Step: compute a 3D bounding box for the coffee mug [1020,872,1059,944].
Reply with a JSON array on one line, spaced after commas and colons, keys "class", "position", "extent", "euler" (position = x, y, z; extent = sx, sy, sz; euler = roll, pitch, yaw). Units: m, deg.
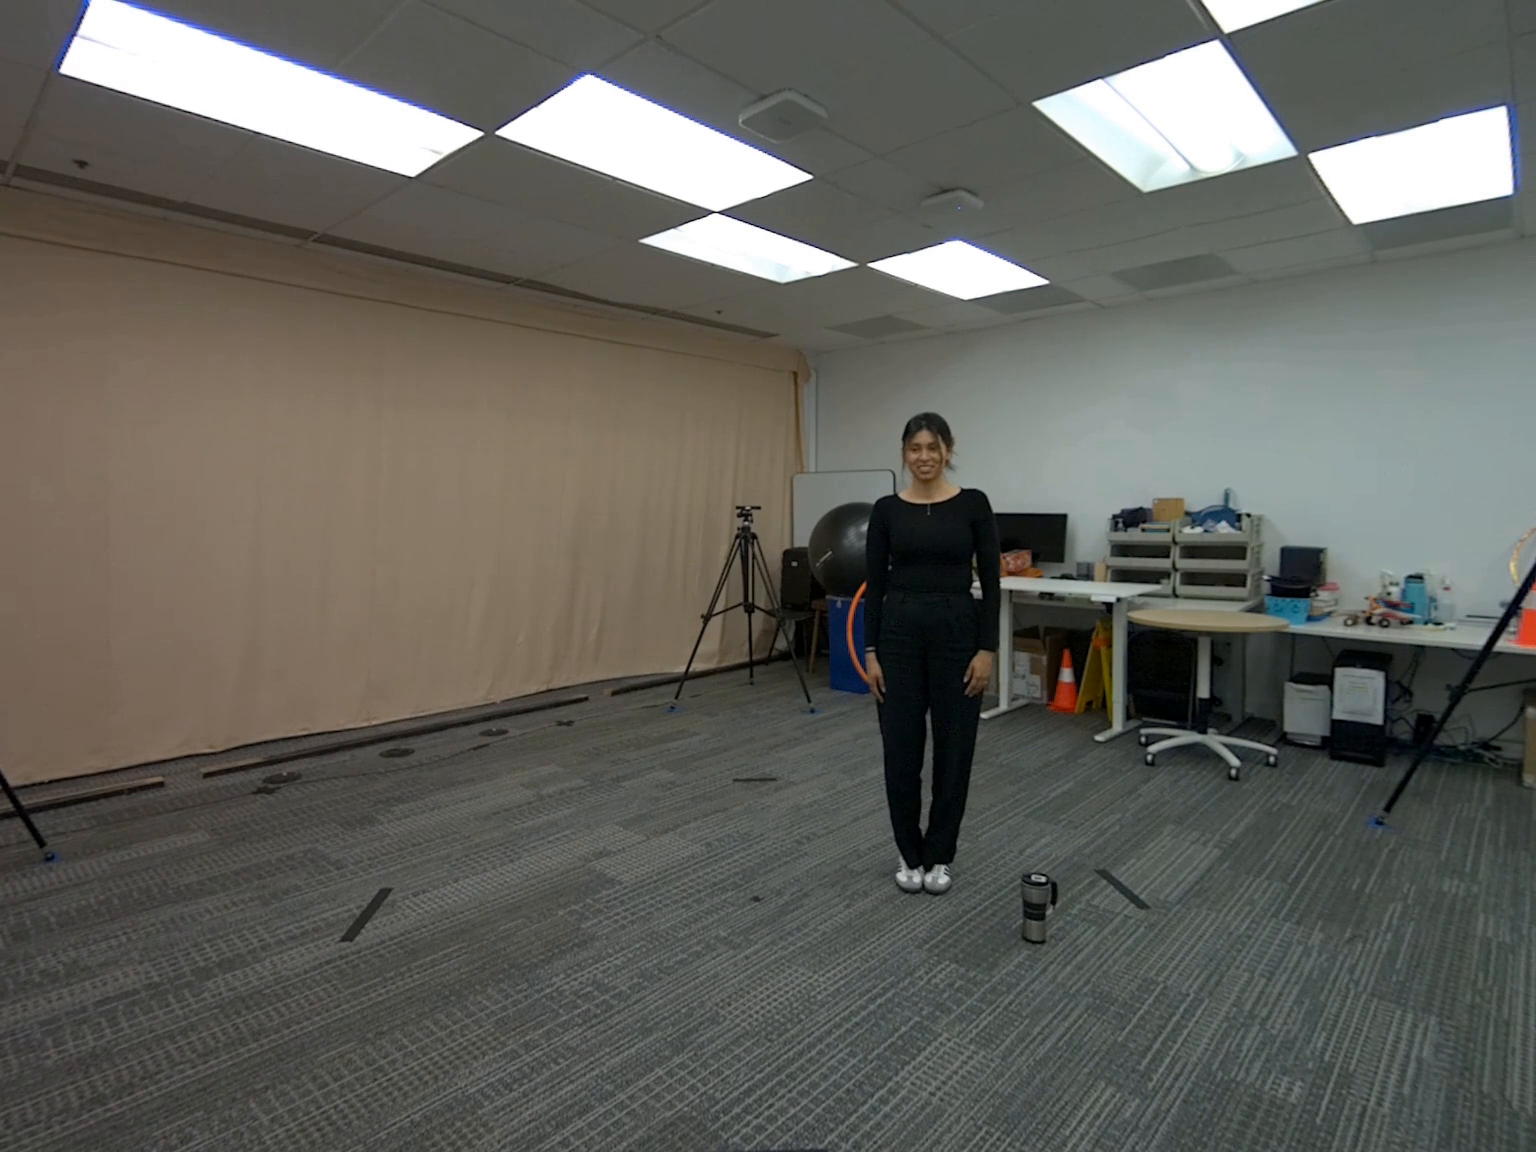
[{"class": "coffee mug", "position": [0.888, 1.073, 2.682], "extent": [0.122, 0.203, 0.088], "euler": [-2, 2, 1]}]
